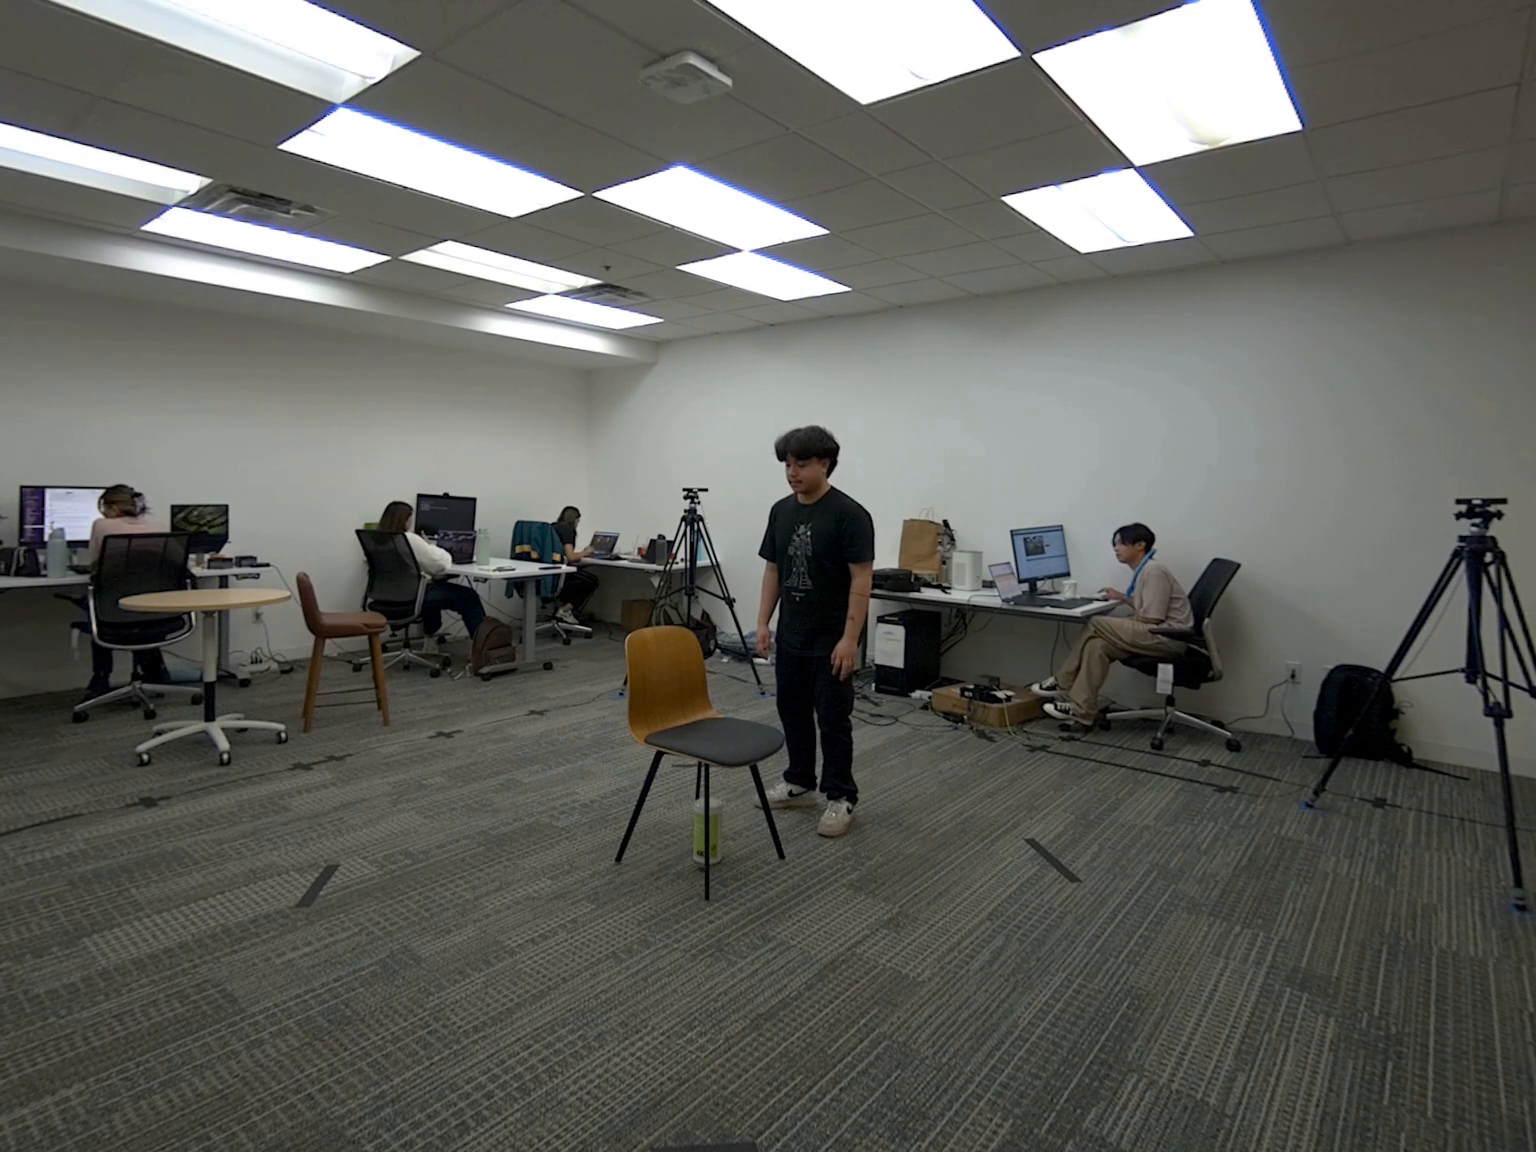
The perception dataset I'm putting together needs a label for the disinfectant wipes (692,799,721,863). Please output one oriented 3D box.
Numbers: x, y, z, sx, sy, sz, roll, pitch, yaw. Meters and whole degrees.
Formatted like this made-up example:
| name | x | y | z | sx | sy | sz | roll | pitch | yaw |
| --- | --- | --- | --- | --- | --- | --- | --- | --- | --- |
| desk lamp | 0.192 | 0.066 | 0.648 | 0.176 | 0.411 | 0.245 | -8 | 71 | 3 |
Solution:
| name | x | y | z | sx | sy | sz | roll | pitch | yaw |
| --- | --- | --- | --- | --- | --- | --- | --- | --- | --- |
| disinfectant wipes | -0.243 | 0.966 | 3.201 | 0.118 | 0.217 | 0.118 | 0 | 3 | -2 |
